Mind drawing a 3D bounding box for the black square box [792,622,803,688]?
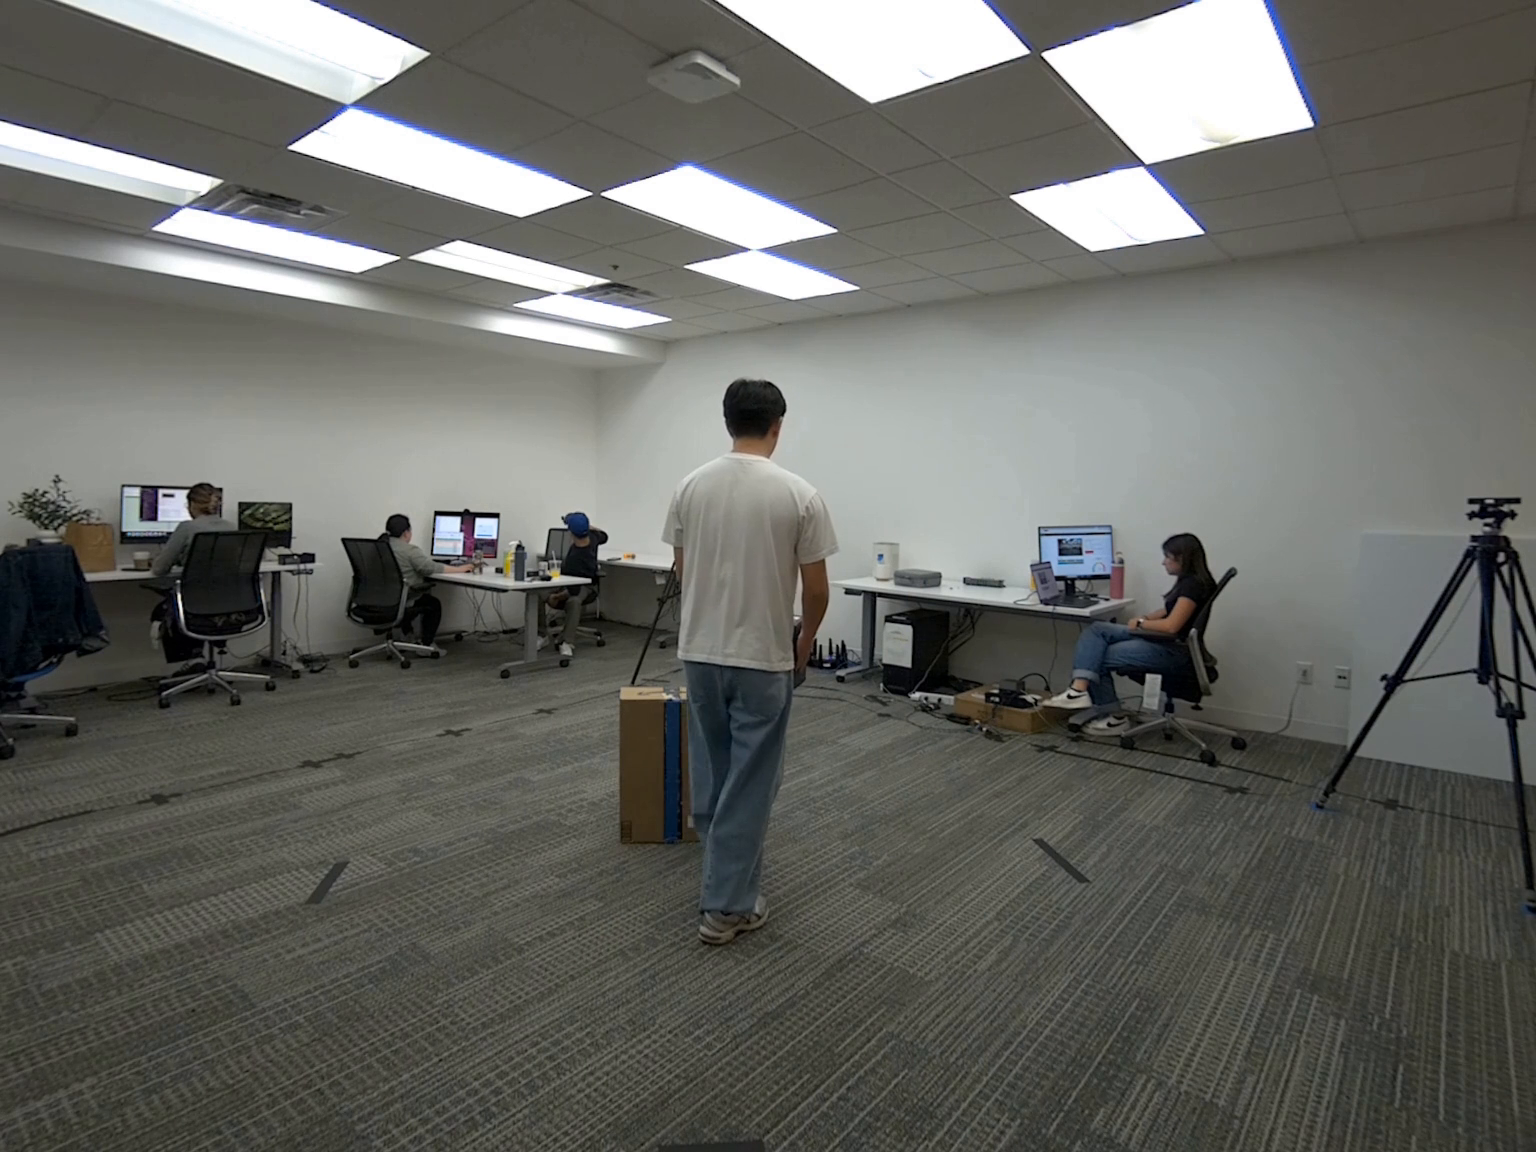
[{"bbox_3d":[0.006,0.250,2.965,0.222,0.227,0.153,4,6,20],"label":"black square box"}]
